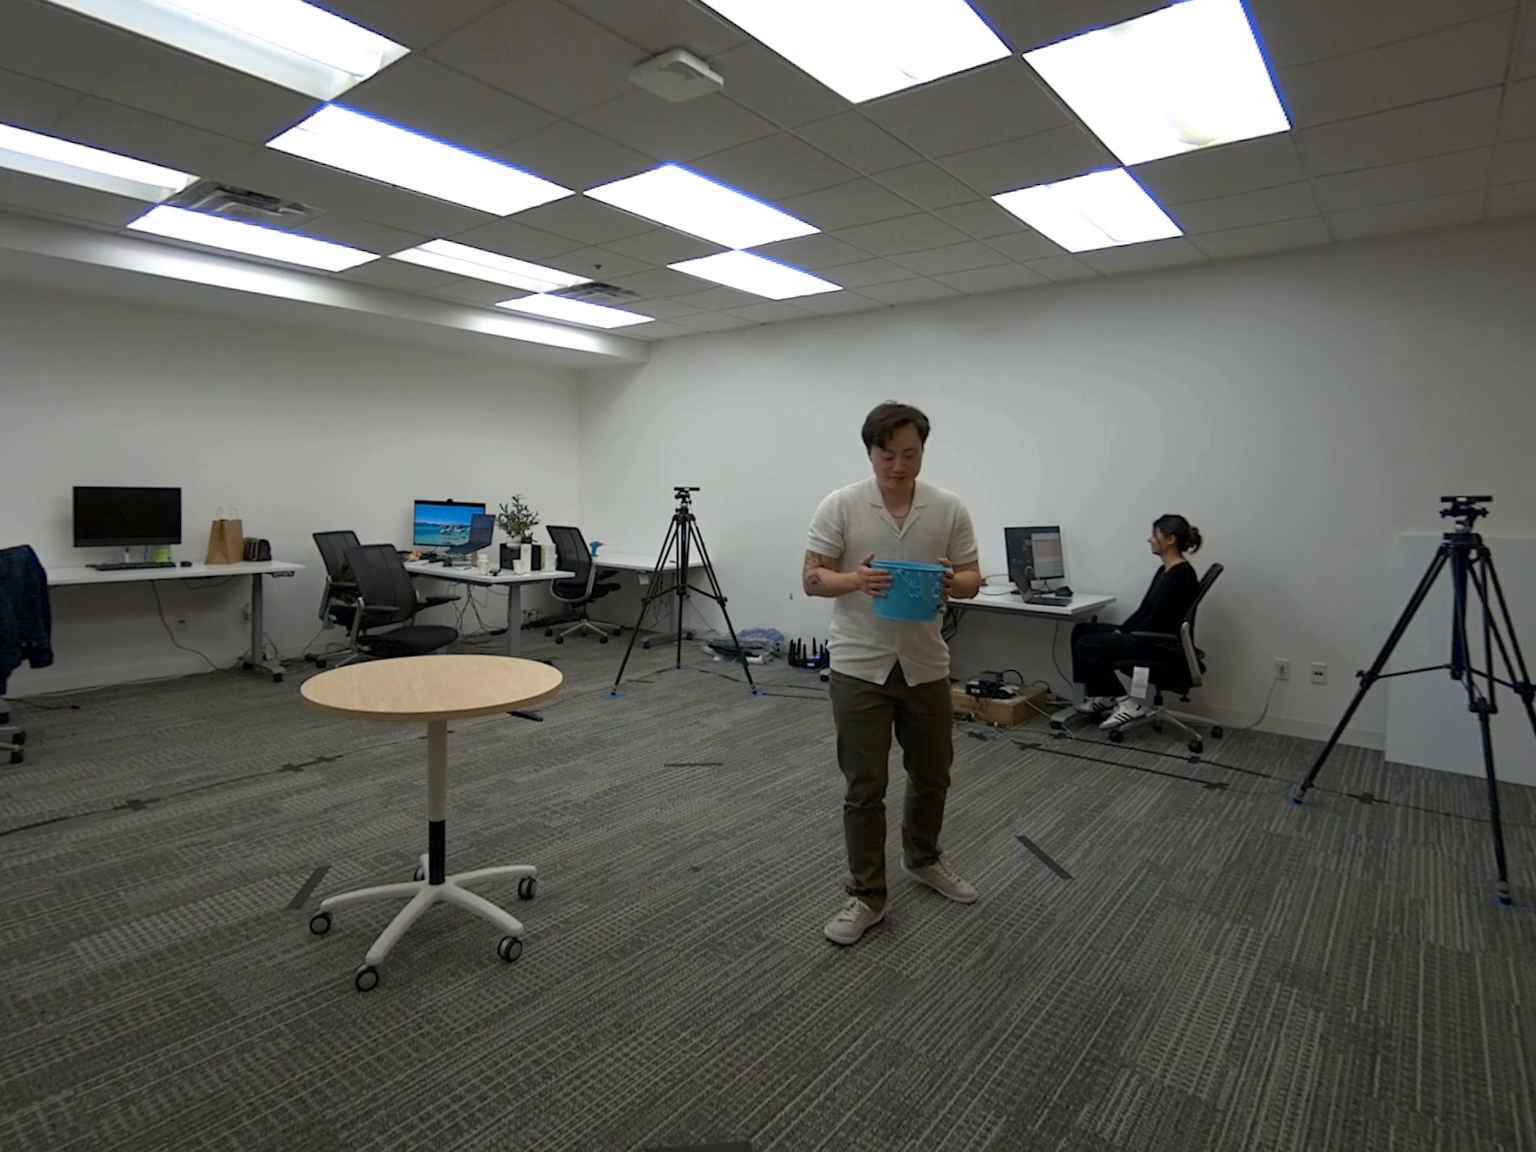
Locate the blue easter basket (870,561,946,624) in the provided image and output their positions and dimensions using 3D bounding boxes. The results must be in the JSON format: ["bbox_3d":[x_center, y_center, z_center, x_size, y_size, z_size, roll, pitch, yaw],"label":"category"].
[{"bbox_3d":[0.424,0.042,2.505,0.243,0.155,0.245,3,5,-2],"label":"blue easter basket"}]
